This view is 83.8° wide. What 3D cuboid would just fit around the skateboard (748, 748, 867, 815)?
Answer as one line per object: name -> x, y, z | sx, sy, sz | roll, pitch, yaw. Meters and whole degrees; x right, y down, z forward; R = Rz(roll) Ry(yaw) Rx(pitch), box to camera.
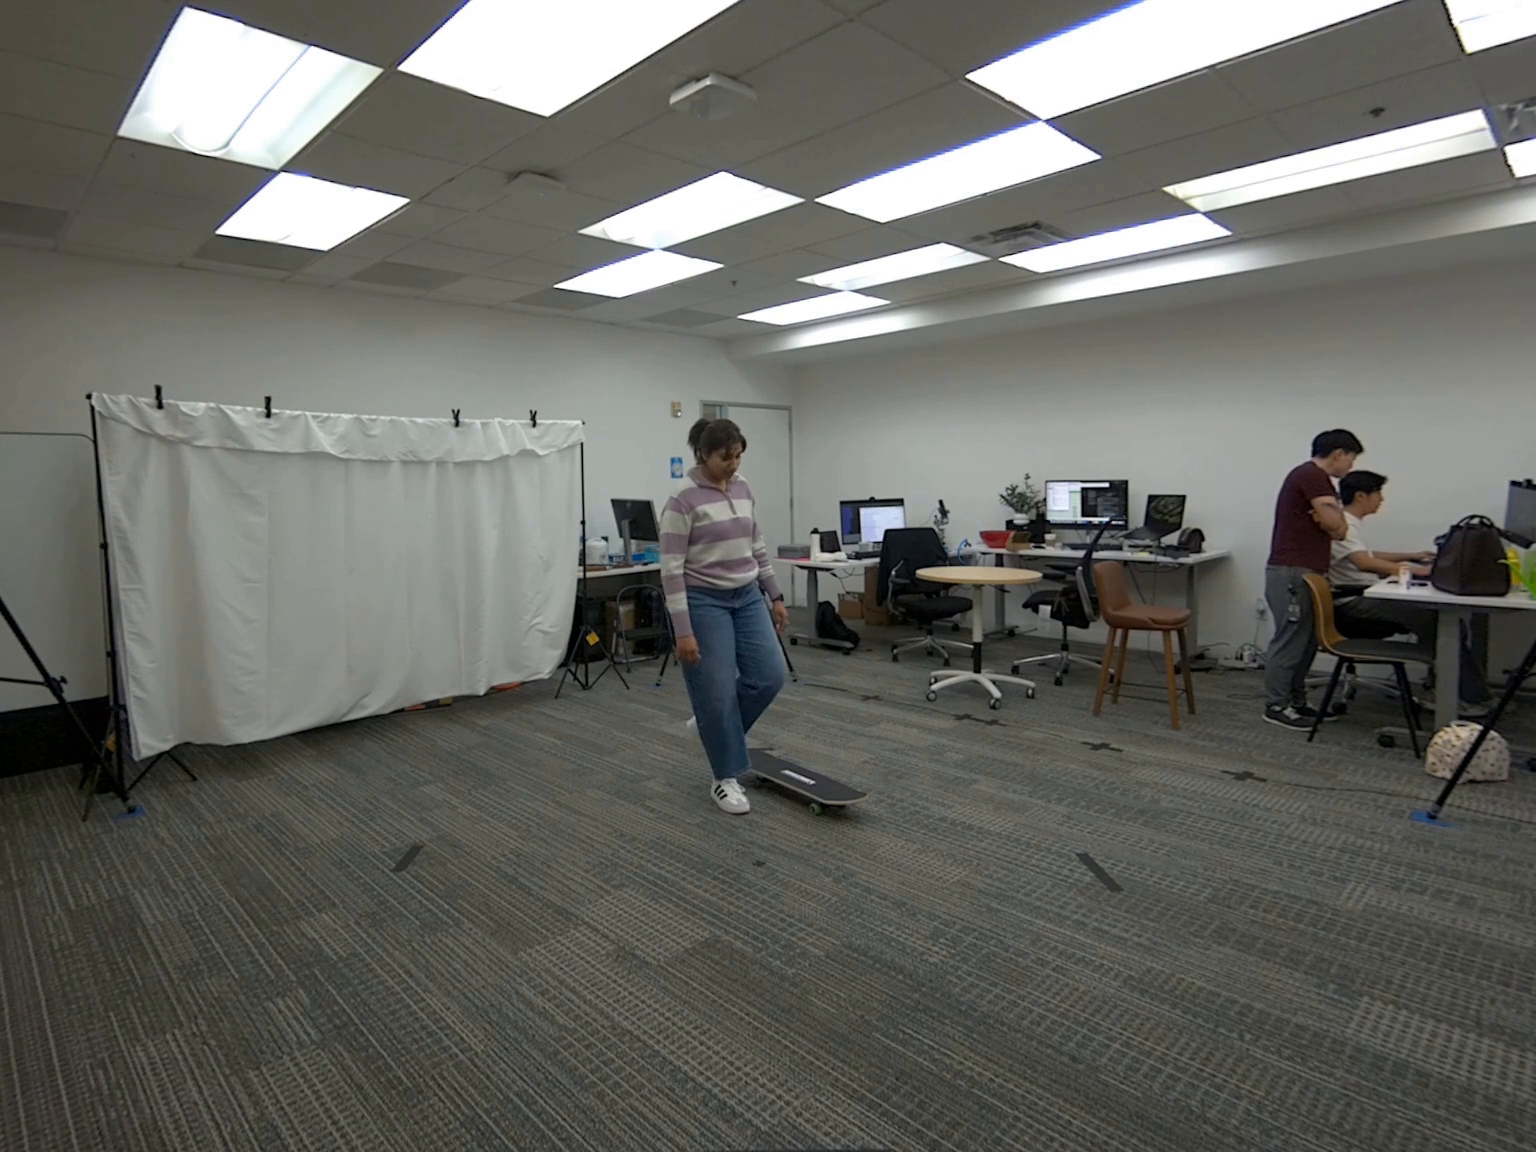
skateboard -> 0.136, 0.916, 3.752 | 0.189, 0.110, 0.809 | -6, 8, -37
